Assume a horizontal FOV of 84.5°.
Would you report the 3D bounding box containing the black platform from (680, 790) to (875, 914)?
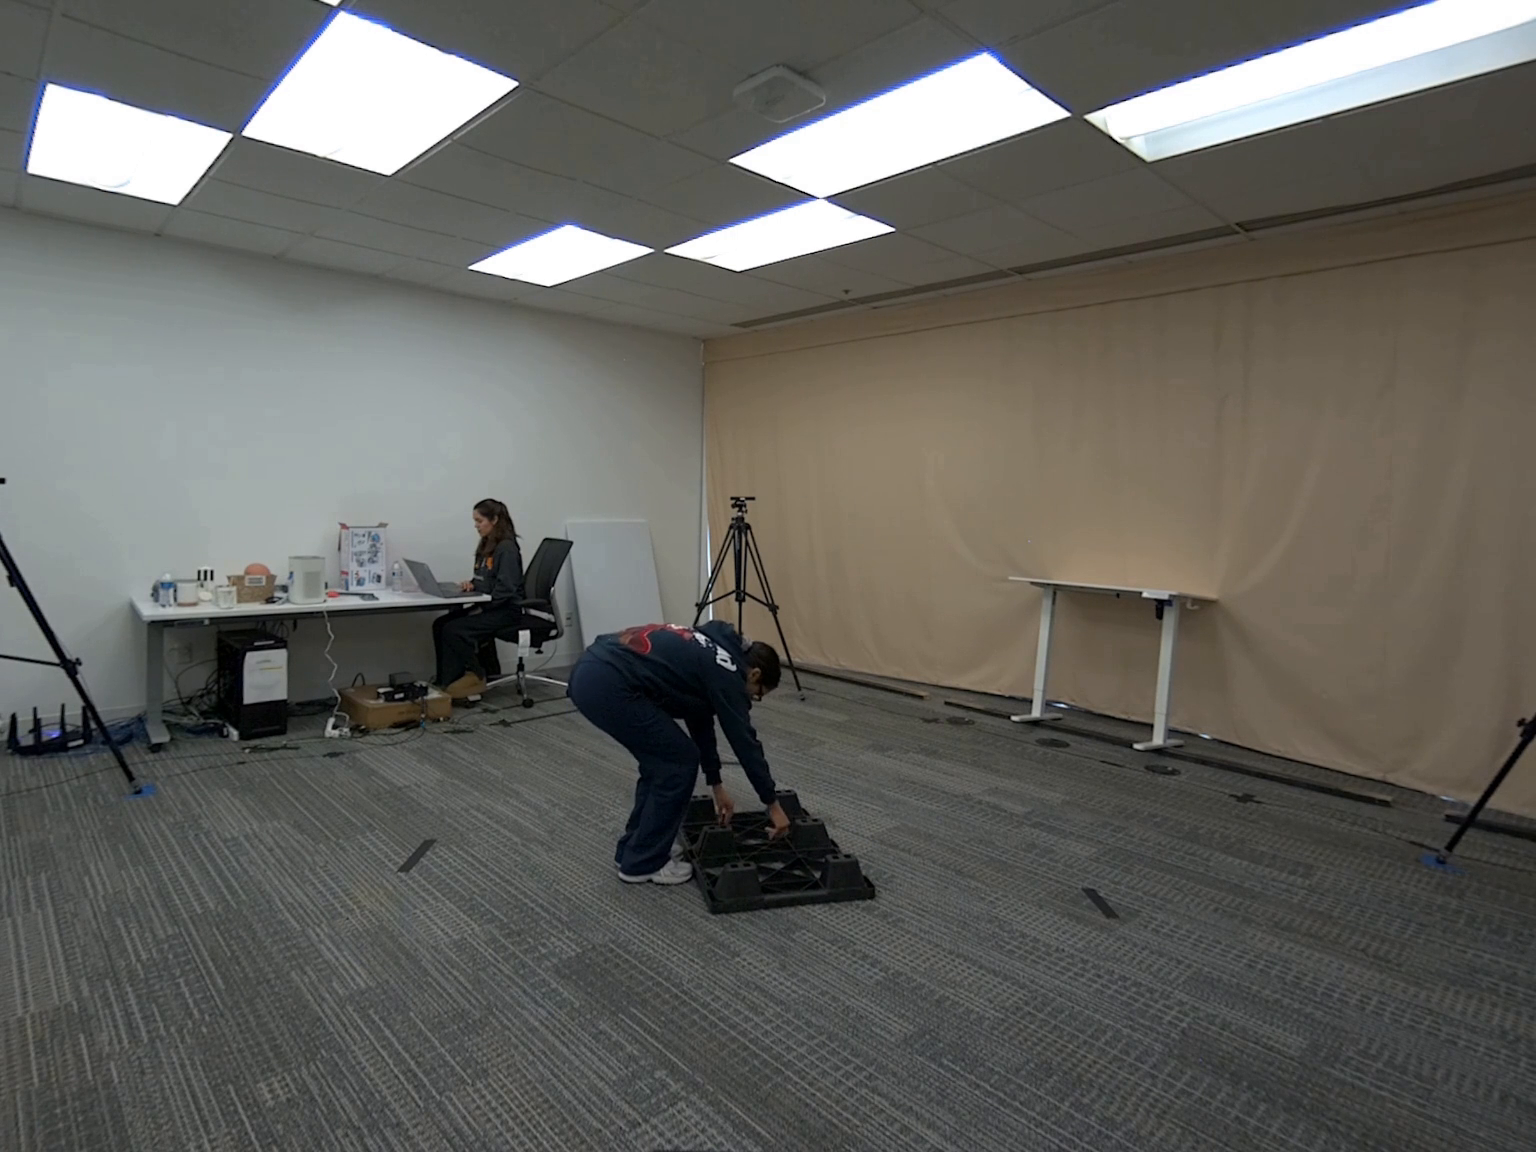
[{"bbox_3d":[-0.024,1.025,3.263,0.598,0.143,0.818,0,5,-17],"label":"black platform"}]
